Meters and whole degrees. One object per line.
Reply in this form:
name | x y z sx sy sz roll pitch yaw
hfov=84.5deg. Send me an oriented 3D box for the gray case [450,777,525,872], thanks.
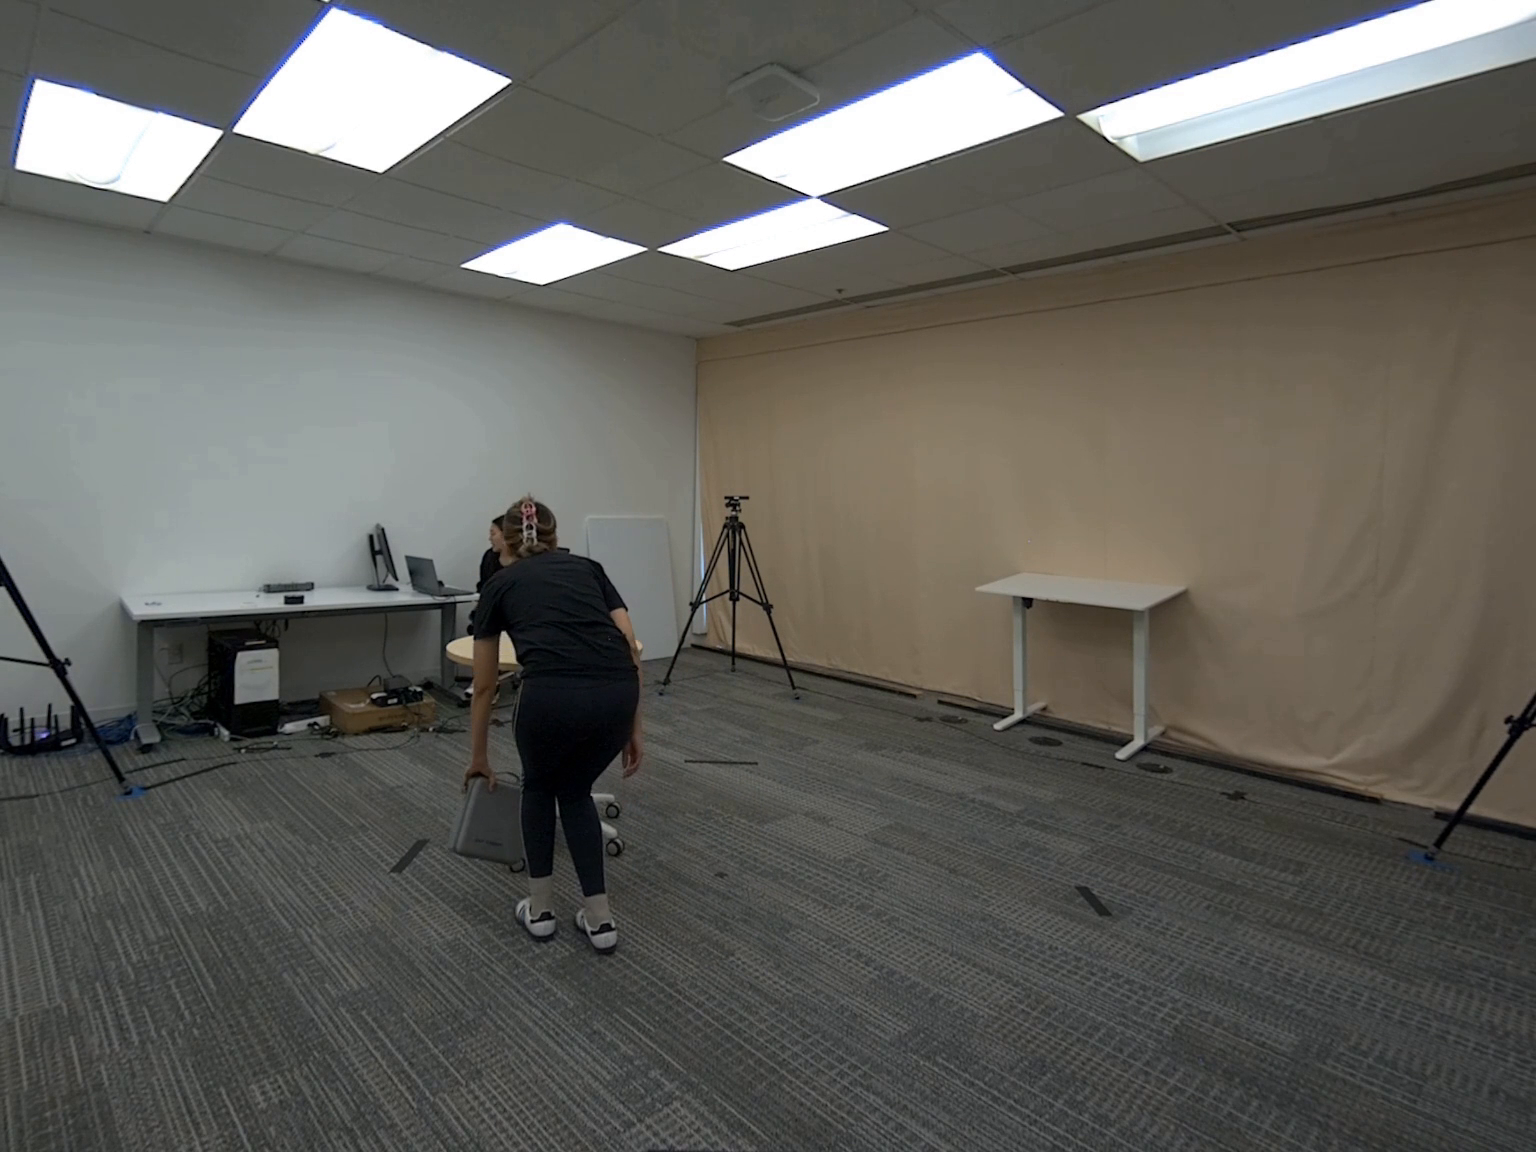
gray case | -0.922 0.821 2.835 0.249 0.263 0.106 25 -25 -35
